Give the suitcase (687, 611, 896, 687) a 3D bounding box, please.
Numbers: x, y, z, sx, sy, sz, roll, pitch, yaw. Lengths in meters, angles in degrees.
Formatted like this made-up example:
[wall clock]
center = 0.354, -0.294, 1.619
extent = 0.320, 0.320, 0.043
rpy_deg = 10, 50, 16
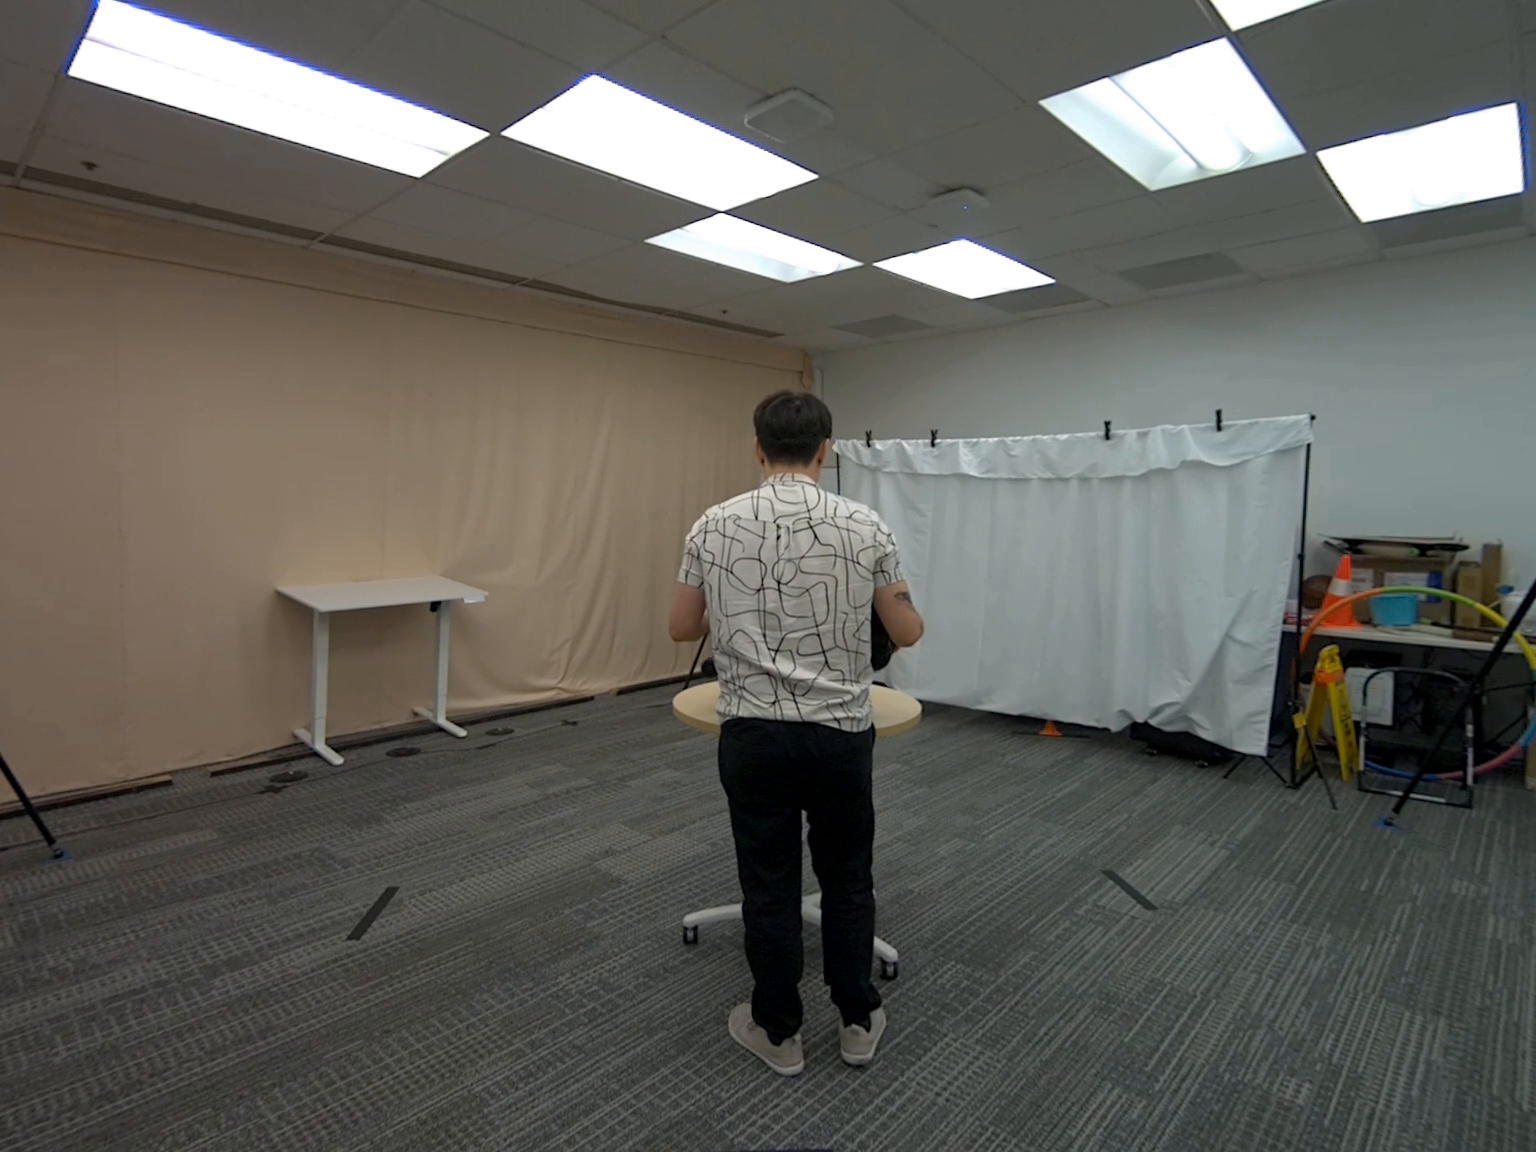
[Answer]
[suitcase]
center = 0.102, 0.066, 2.416
extent = 0.555, 0.371, 0.249
rpy_deg = -2, 18, 10
